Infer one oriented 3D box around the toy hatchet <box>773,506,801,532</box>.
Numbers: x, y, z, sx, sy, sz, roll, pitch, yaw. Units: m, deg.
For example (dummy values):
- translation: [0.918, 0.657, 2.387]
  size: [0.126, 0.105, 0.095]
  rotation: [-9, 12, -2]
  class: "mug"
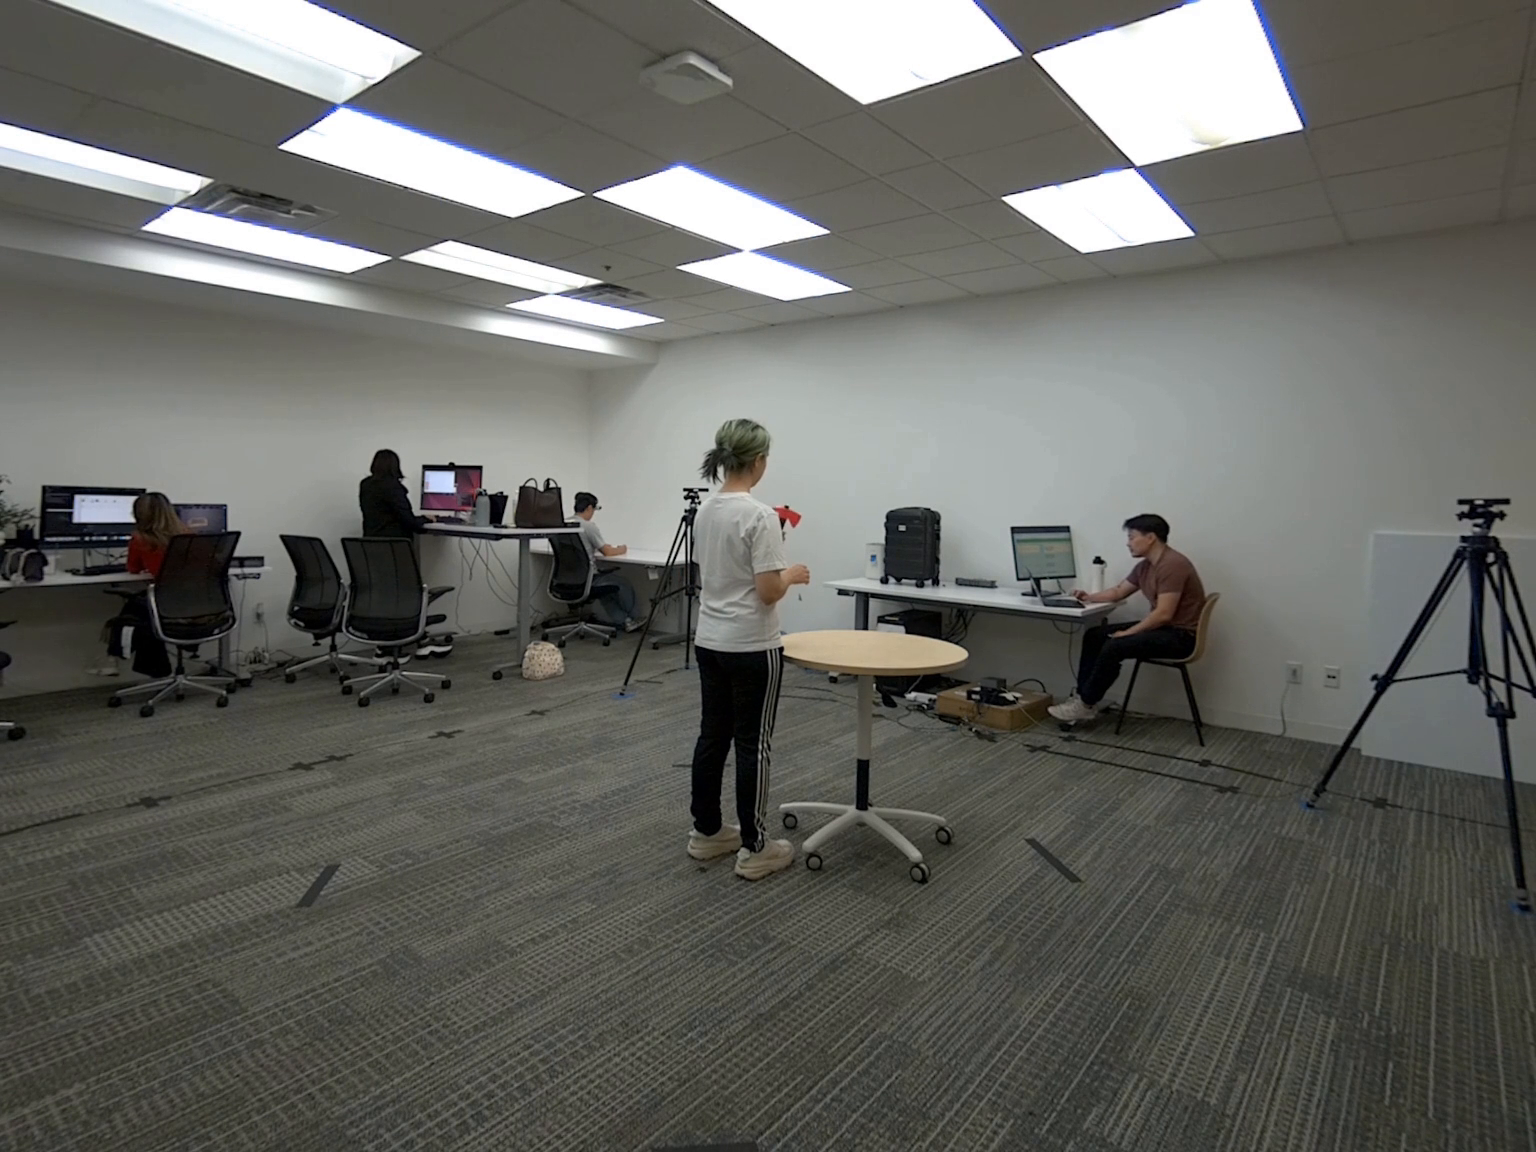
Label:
- translation: [0.053, -0.157, 3.440]
  size: [0.130, 0.267, 0.030]
  rotation: [-6, 9, -5]
  class: "toy hatchet"
